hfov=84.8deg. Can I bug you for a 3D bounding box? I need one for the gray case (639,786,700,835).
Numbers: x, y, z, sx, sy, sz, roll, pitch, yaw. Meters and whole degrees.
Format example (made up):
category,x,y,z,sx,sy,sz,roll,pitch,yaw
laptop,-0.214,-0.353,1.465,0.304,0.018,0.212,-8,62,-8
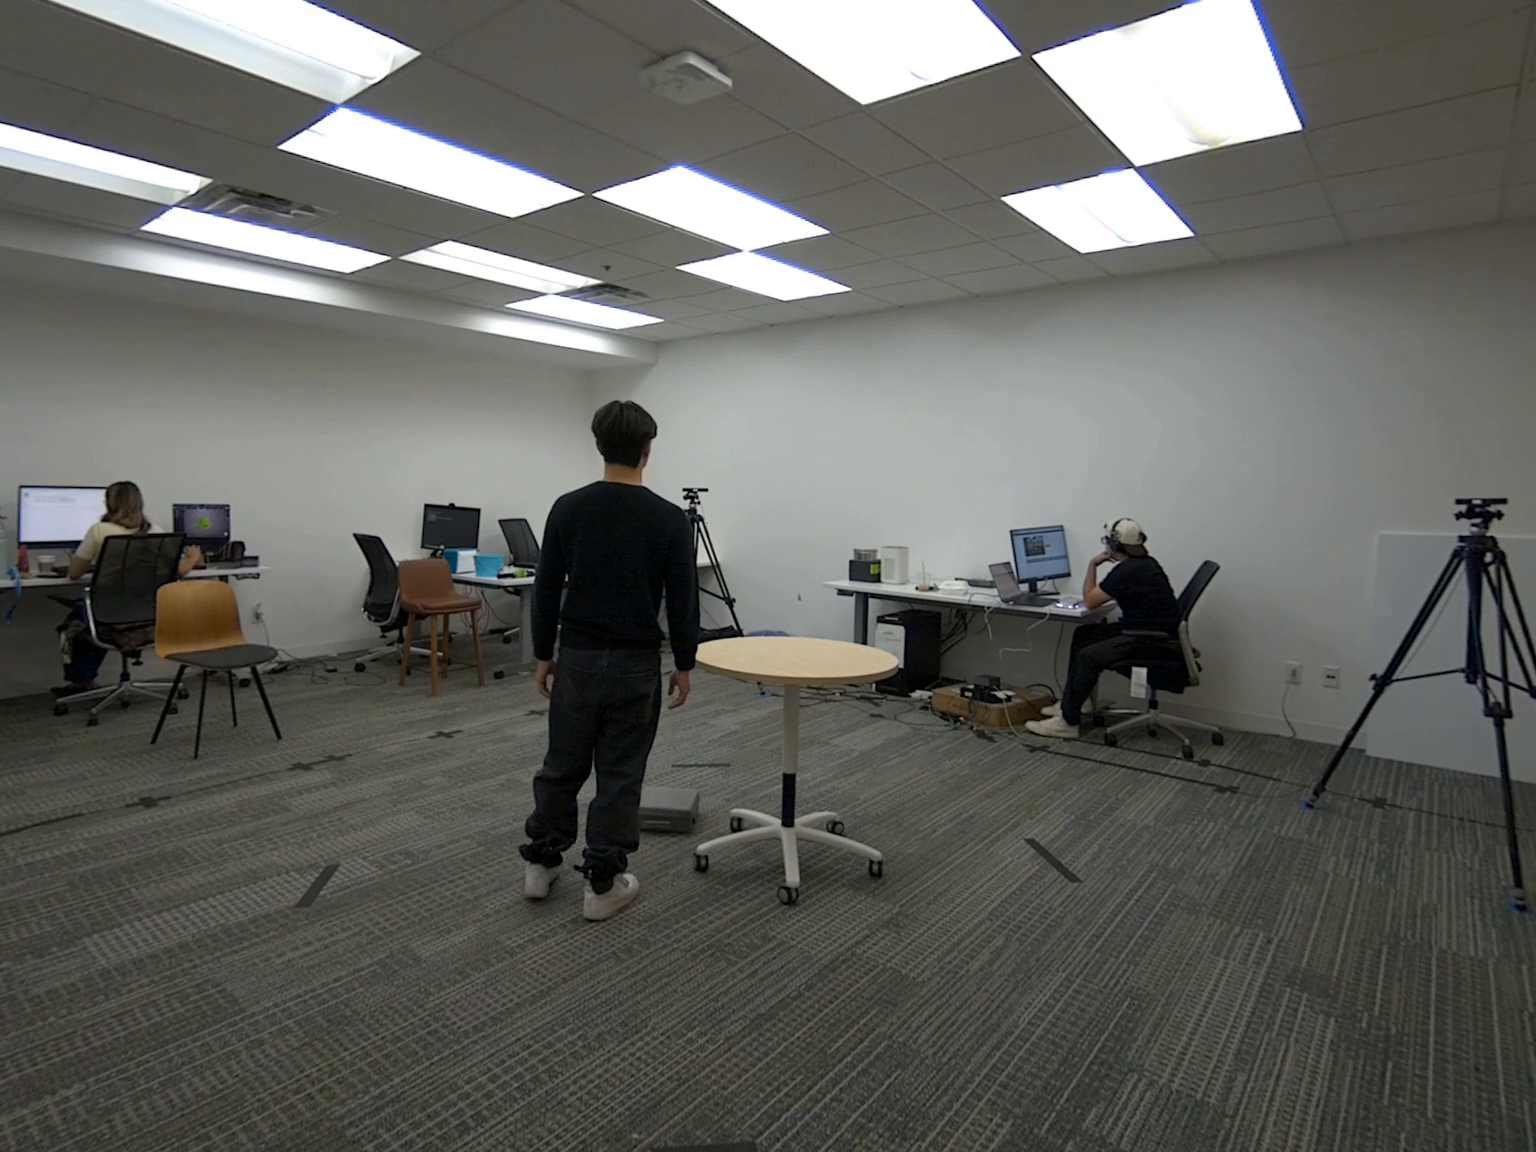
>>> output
category,x,y,z,sx,sy,sz,roll,pitch,yaw
gray case,-0.430,0.963,3.547,0.259,0.104,0.260,2,7,5
